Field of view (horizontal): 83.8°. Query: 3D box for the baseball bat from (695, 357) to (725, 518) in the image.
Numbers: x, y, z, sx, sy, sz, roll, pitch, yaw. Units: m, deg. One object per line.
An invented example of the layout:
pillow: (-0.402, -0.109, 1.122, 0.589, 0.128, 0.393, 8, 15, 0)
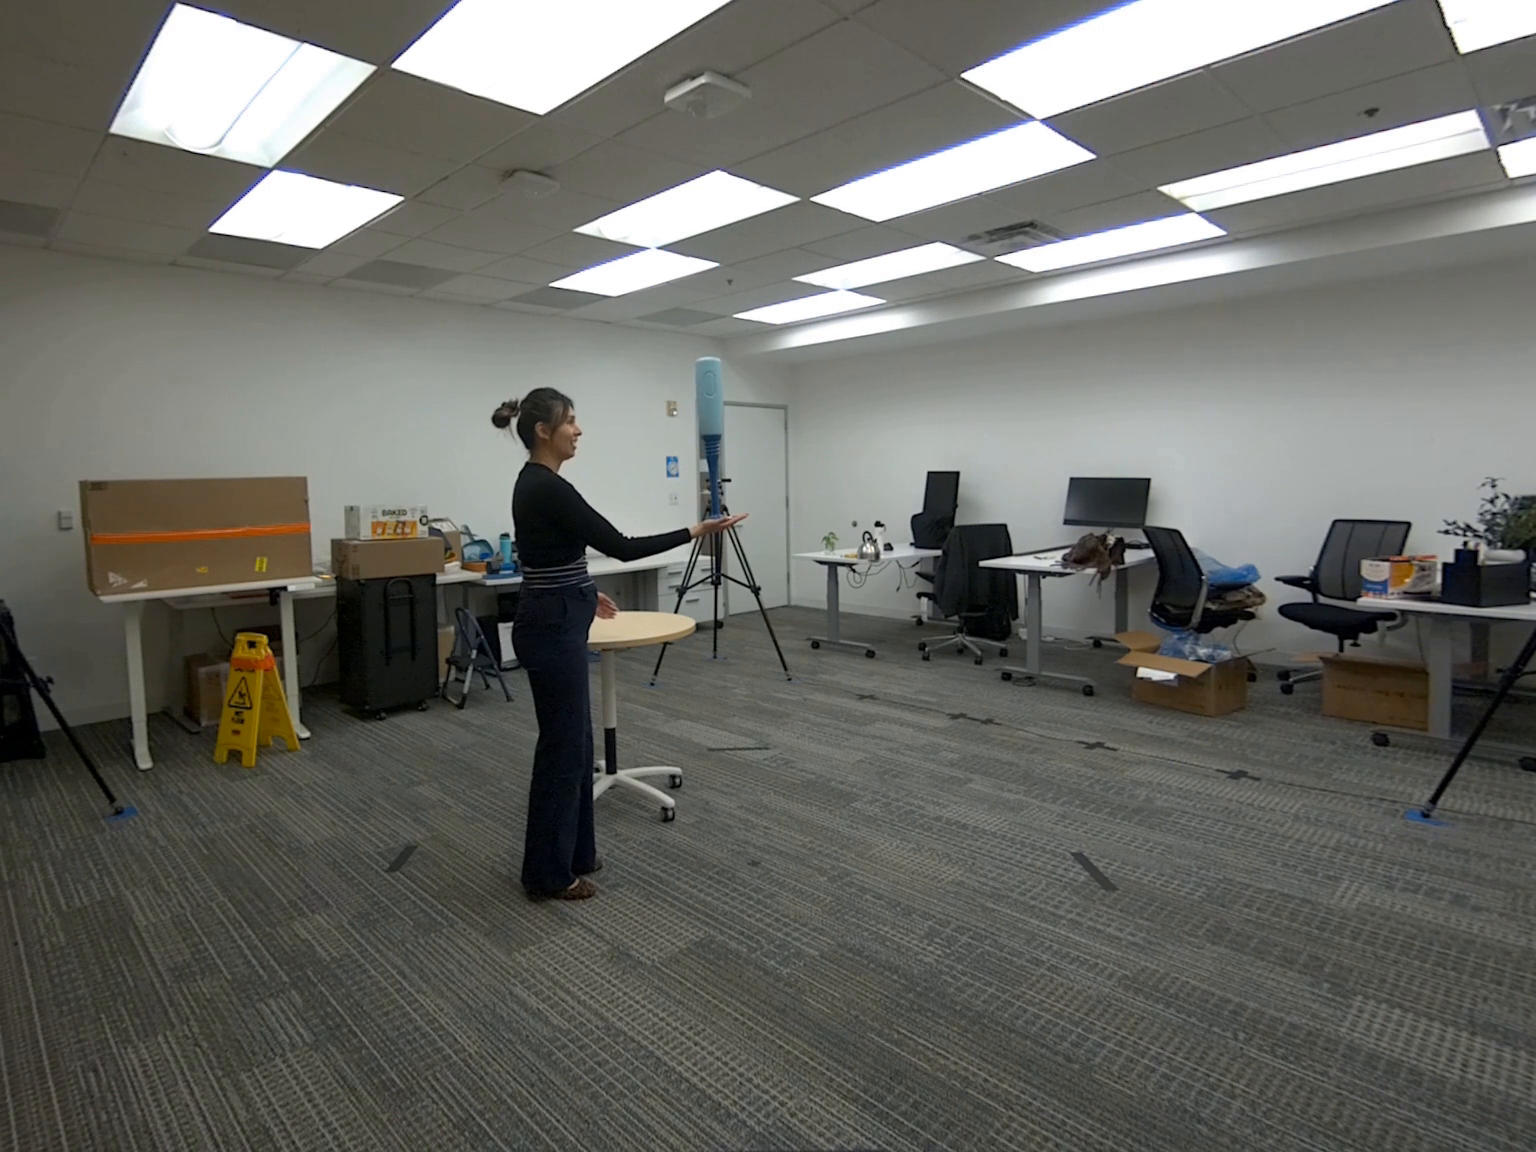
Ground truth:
baseball bat: (-0.194, -0.446, 2.828, 0.089, 0.540, 0.089, -2, 6, -1)
